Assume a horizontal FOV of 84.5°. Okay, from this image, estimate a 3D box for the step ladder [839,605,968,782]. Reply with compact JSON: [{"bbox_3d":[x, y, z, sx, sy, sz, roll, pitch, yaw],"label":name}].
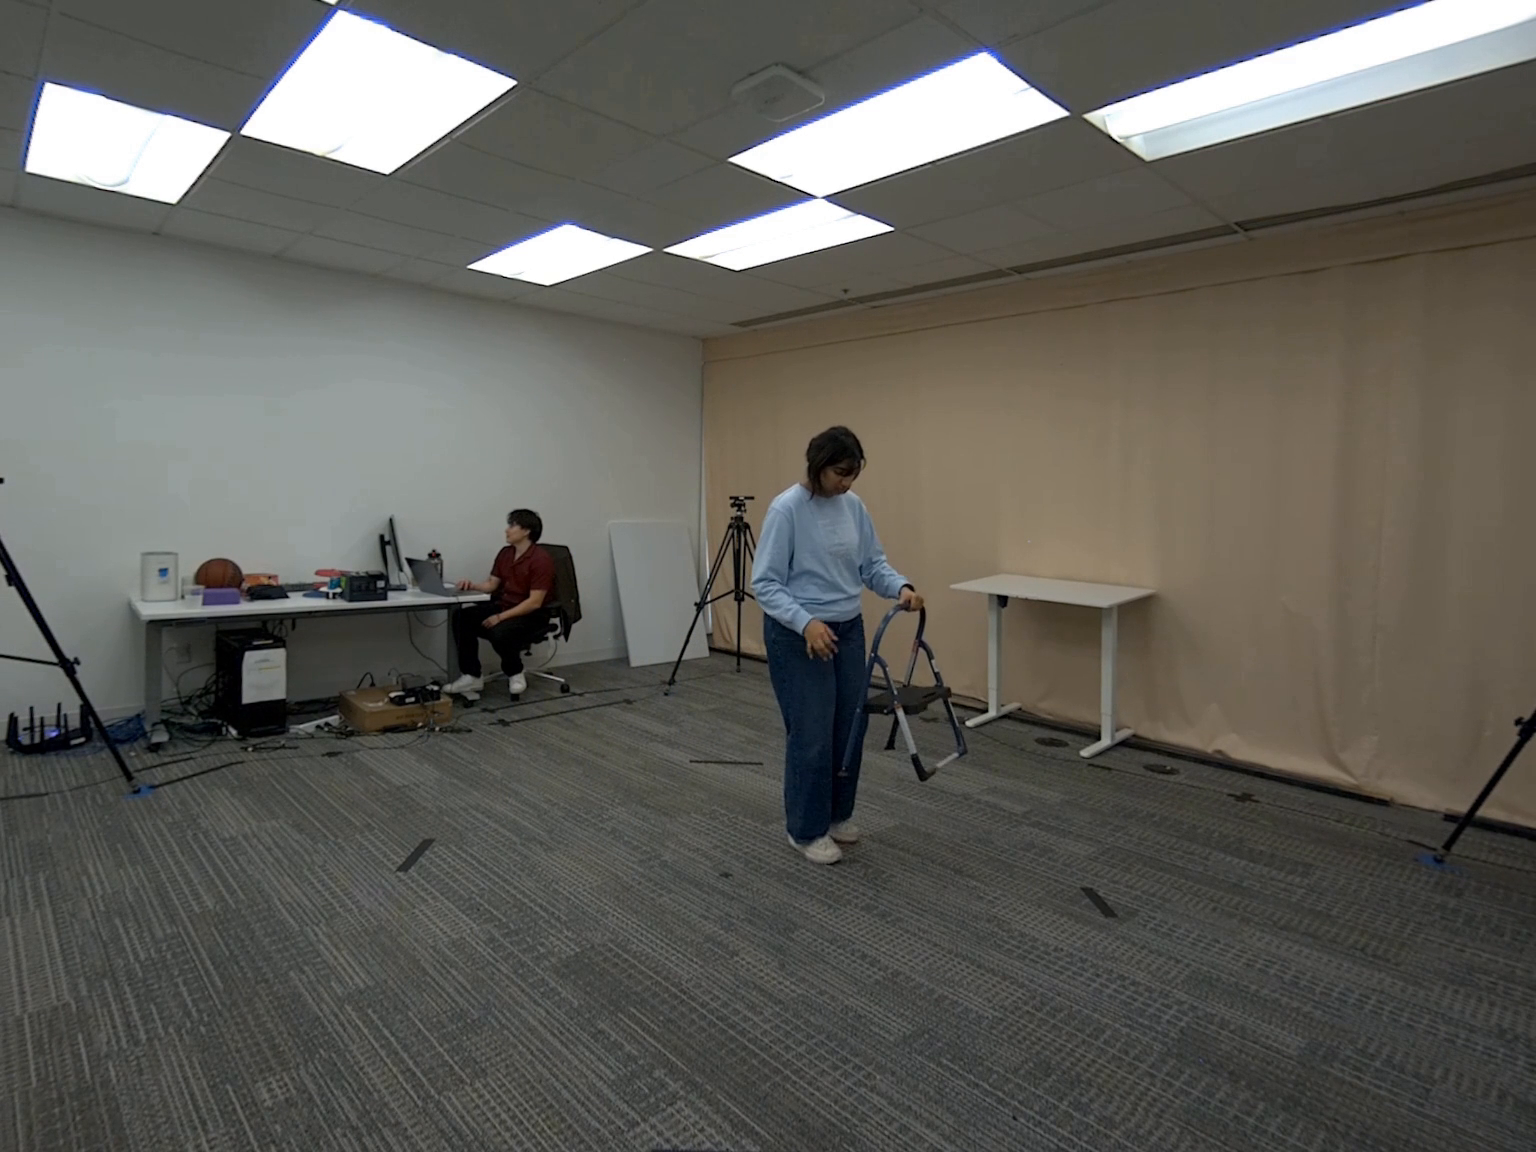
[{"bbox_3d":[0.478,0.411,3.174,0.356,0.607,0.422,-7,-1,34],"label":"step ladder"}]
